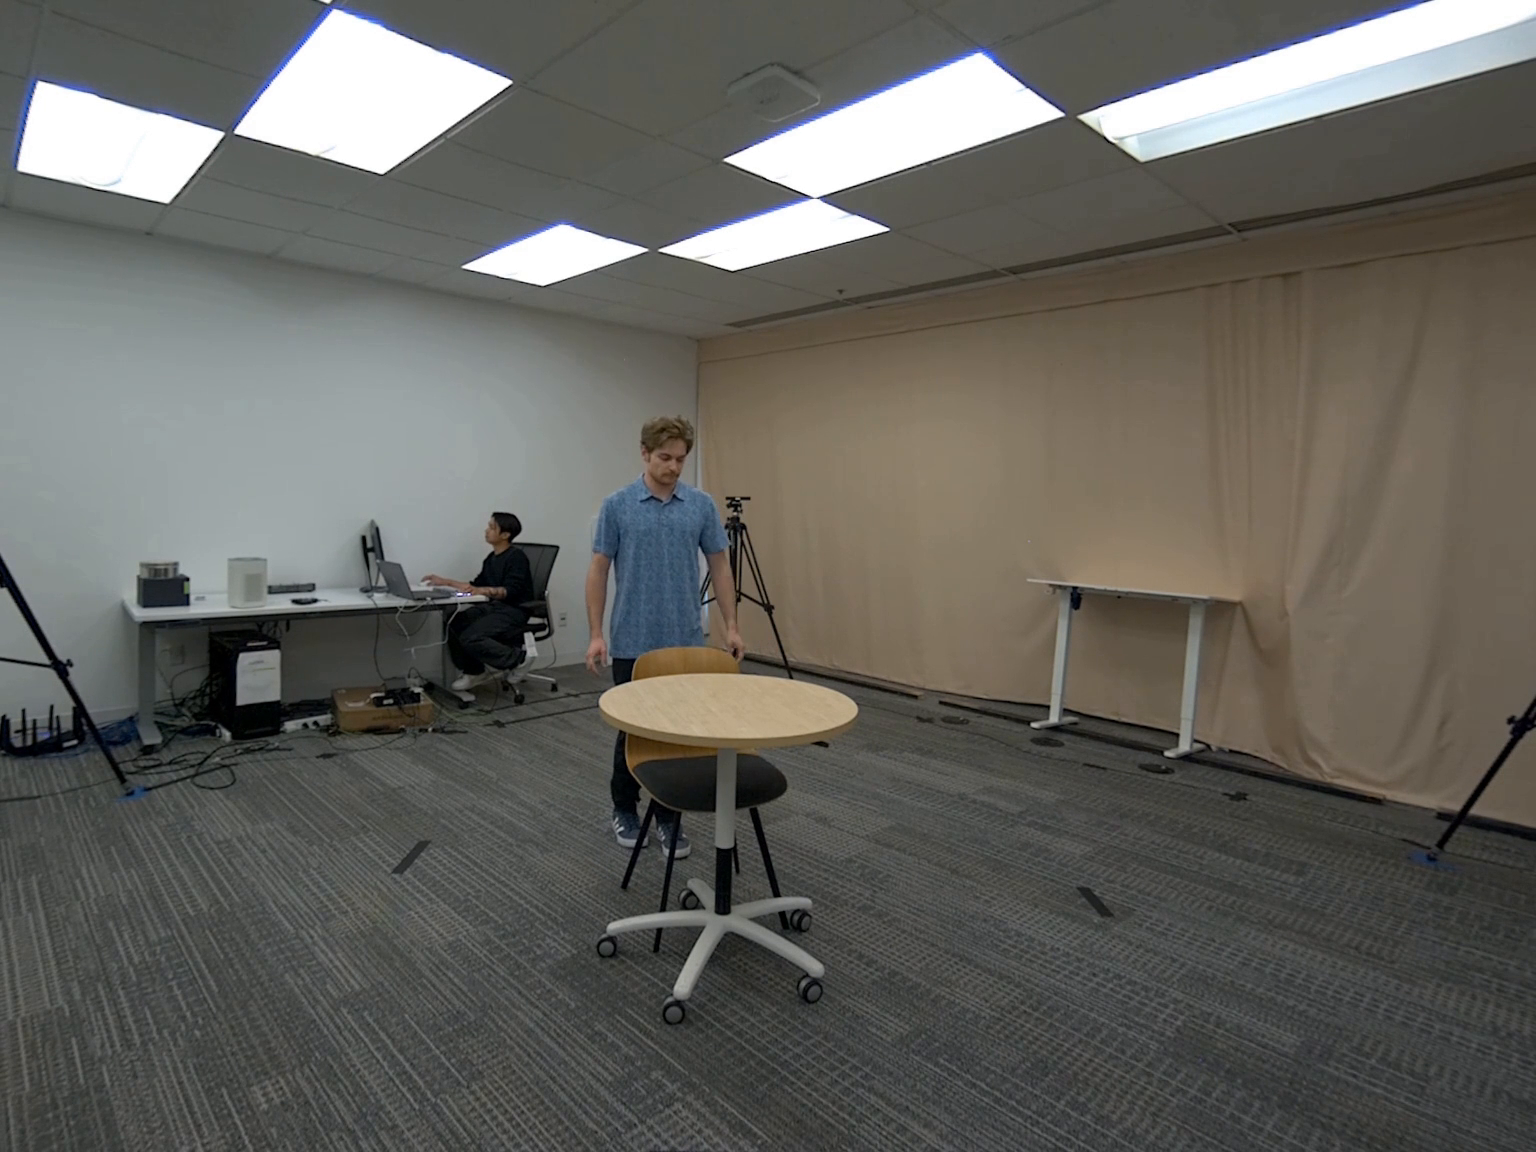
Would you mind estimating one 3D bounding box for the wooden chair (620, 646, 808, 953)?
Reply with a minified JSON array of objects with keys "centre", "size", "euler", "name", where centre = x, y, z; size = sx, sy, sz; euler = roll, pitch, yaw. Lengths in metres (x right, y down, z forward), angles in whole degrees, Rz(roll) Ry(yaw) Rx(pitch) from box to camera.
[{"centre":[-0.219,0.705,2.815],"size":[0.470,0.877,0.531],"euler":[0,0,-22],"name":"wooden chair"}]
